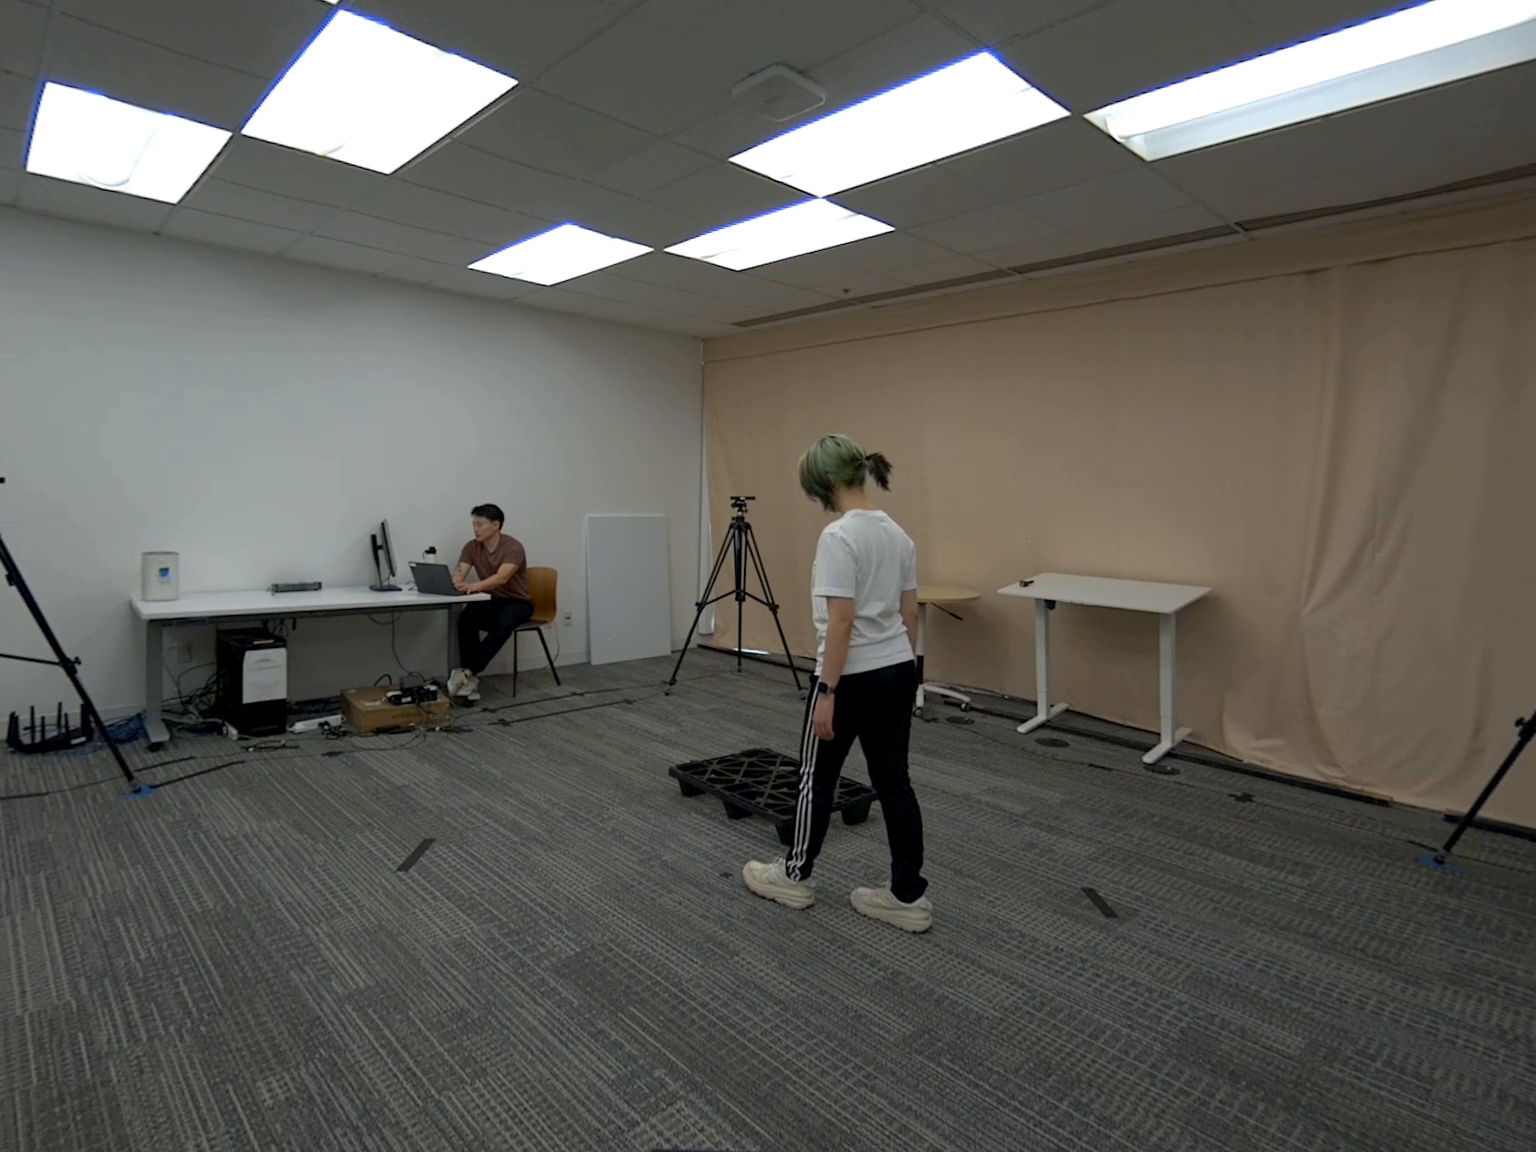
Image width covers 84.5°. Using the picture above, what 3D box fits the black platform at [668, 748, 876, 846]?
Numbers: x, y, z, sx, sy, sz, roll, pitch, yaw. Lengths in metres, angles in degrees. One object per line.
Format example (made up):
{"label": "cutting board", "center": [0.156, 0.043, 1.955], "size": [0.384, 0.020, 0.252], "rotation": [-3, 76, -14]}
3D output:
{"label": "black platform", "center": [0.004, 0.981, 3.800], "size": [0.591, 0.143, 0.826], "rotation": [-3, 7, -40]}
